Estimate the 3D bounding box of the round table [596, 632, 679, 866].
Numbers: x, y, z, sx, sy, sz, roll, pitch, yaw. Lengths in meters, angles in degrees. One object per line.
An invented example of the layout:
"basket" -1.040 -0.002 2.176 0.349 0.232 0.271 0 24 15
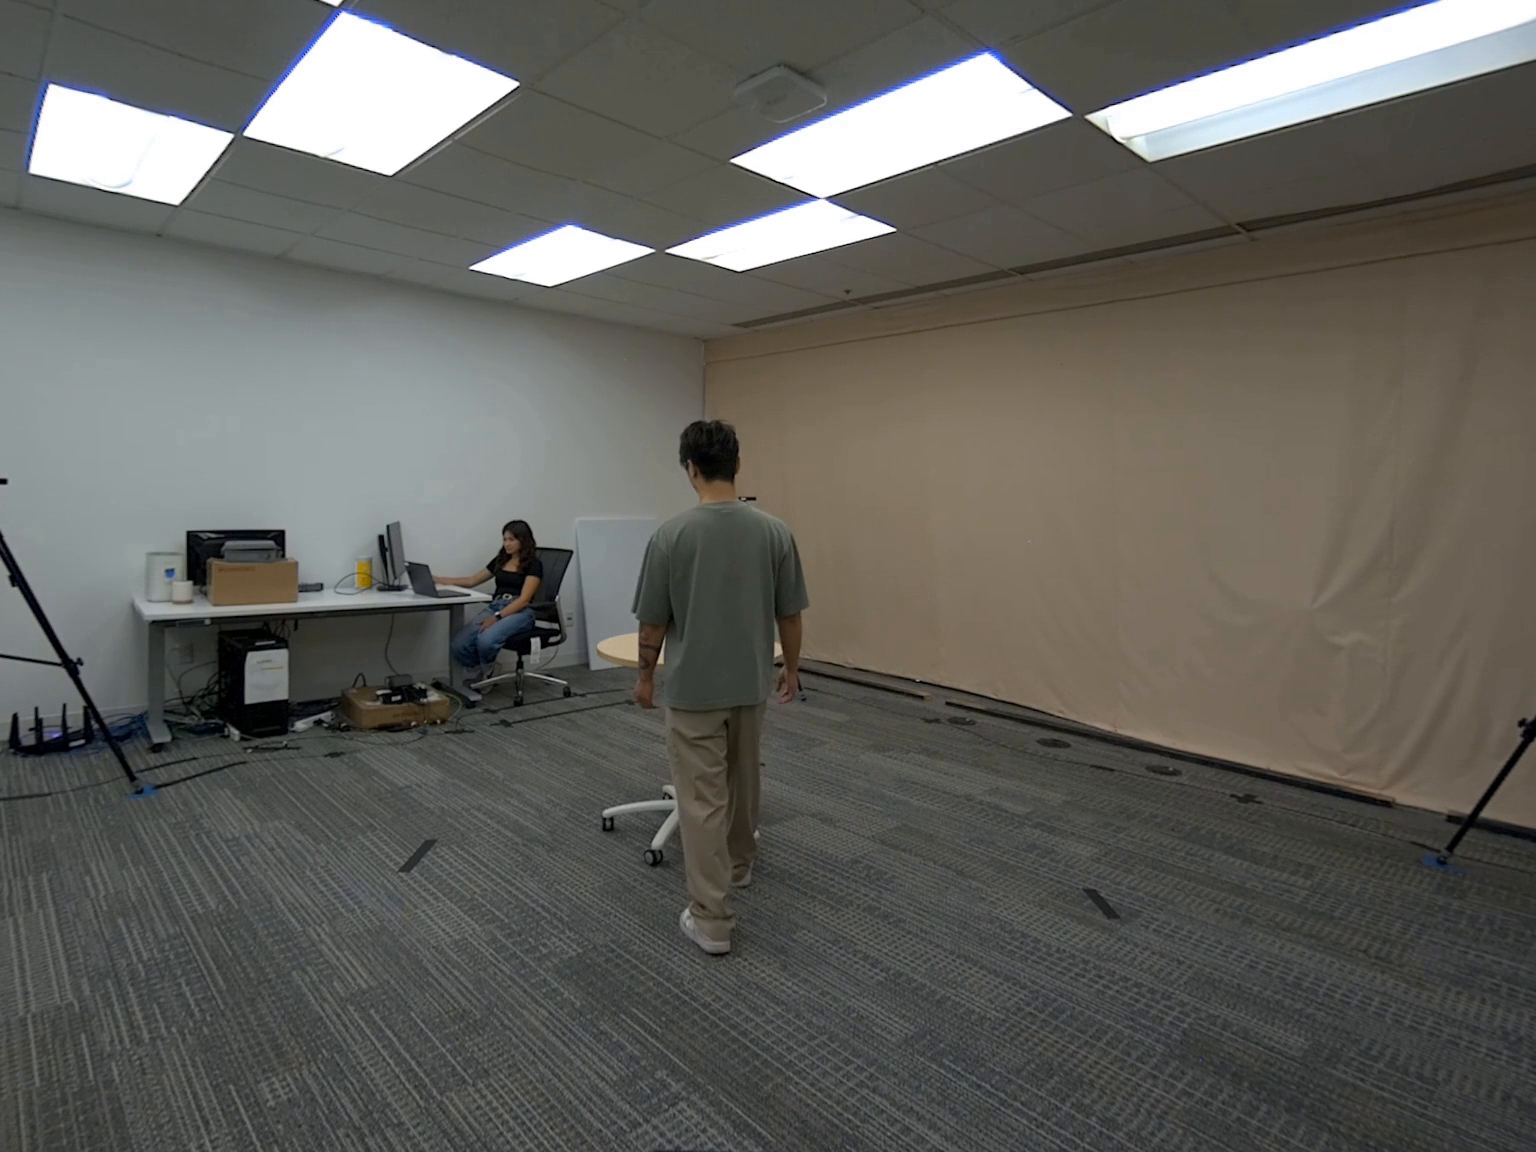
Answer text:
"round table" -0.332 0.679 3.490 0.784 0.784 0.788 2 5 -2
